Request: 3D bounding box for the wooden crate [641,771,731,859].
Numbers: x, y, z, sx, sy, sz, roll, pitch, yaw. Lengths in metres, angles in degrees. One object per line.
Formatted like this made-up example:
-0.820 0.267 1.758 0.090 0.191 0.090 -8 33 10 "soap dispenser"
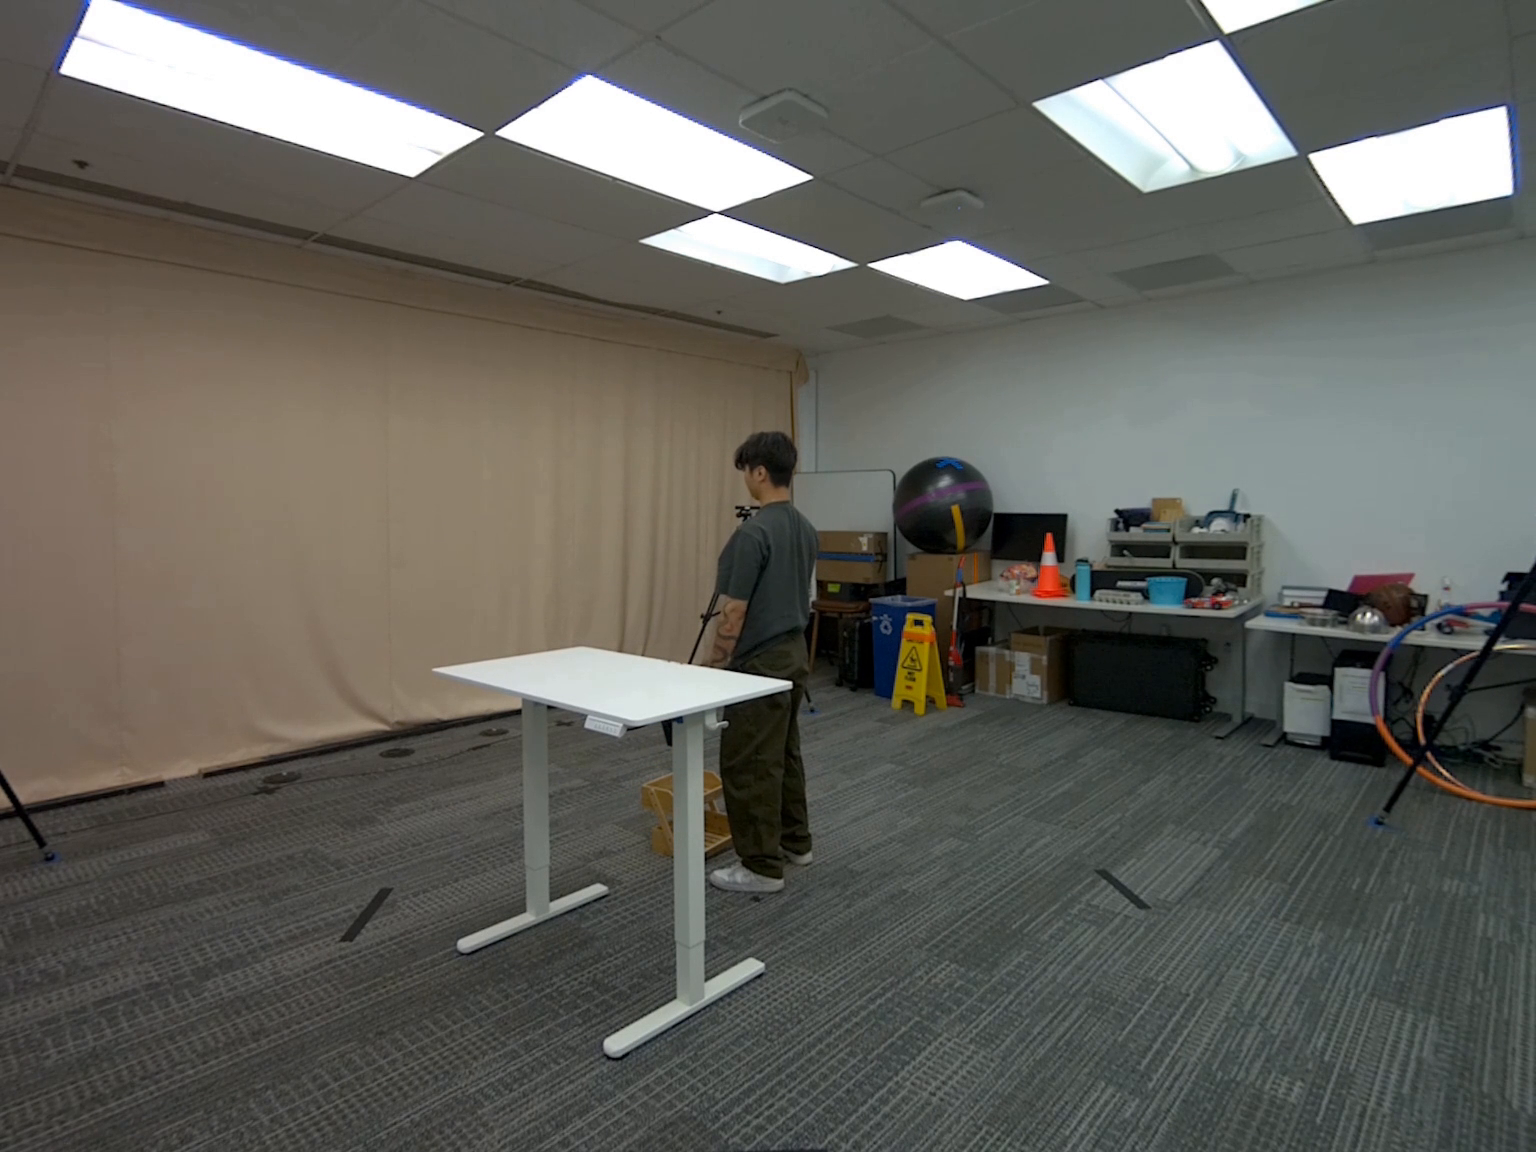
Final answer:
-0.299 0.967 3.459 0.311 0.273 0.315 1 3 34 "wooden crate"
